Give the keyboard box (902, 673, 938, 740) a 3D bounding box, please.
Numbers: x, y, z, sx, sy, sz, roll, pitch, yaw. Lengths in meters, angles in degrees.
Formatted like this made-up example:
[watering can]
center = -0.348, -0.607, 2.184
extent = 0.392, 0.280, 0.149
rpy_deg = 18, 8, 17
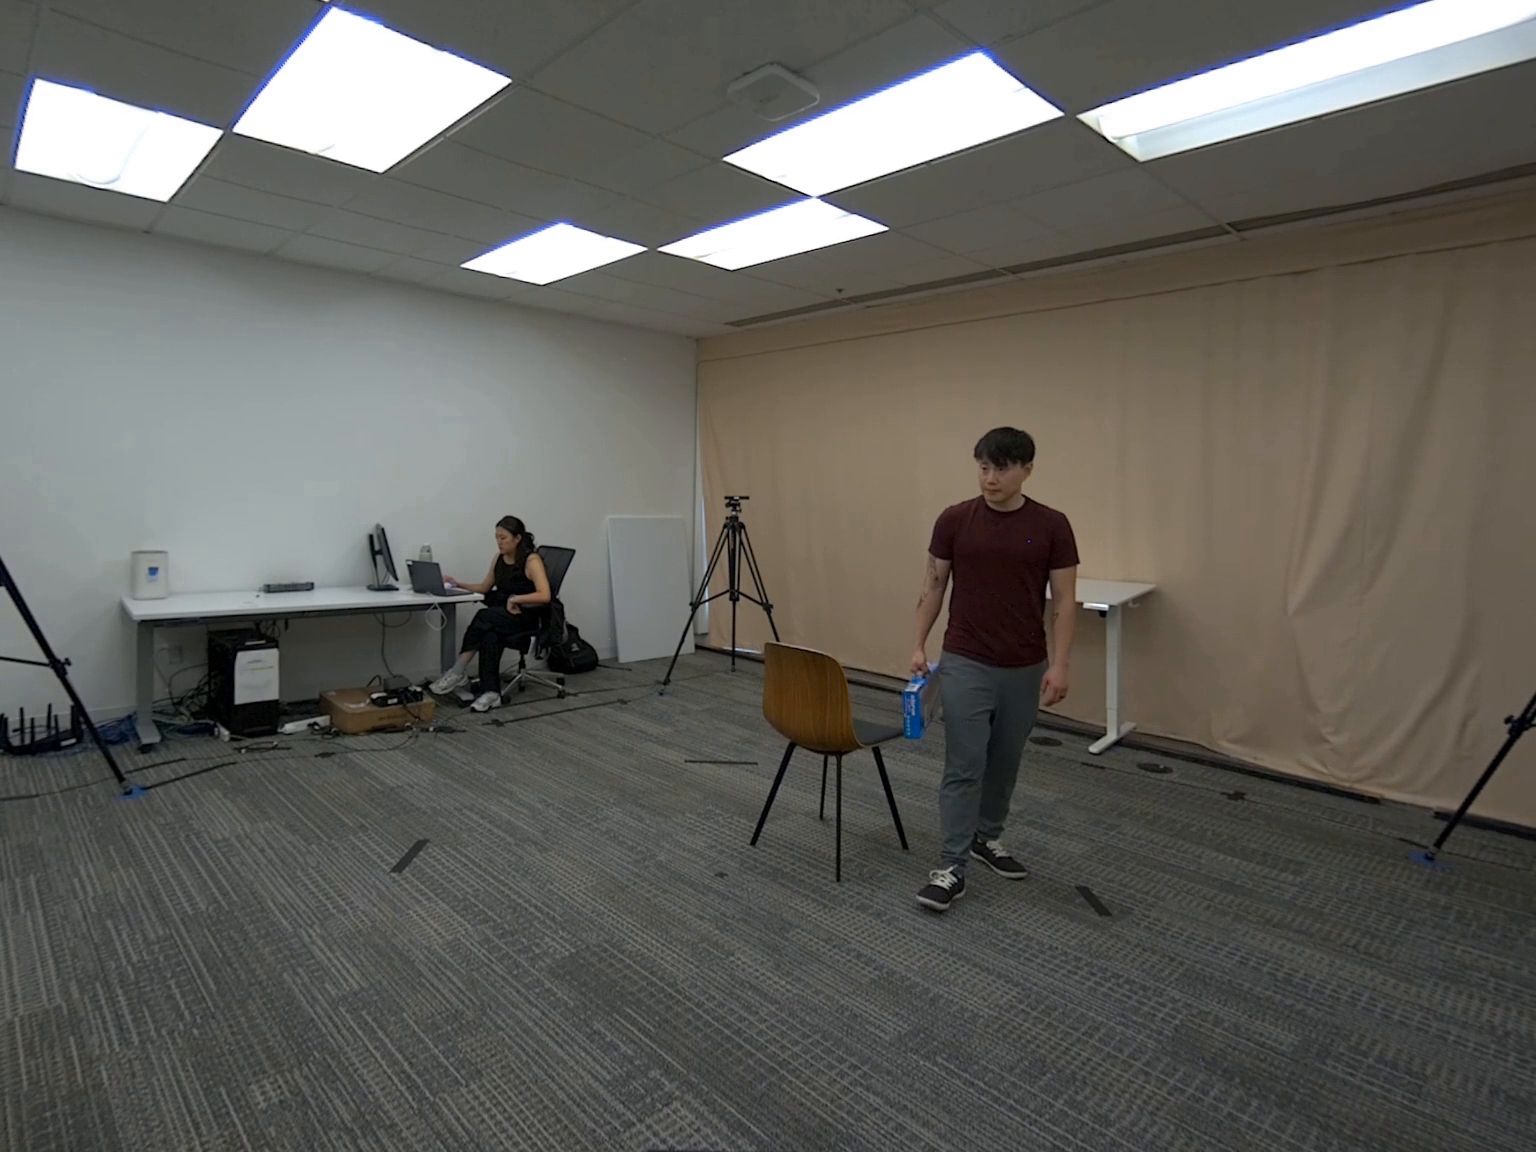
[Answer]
[keyboard box]
center = 0.573, 0.457, 3.177
extent = 0.060, 0.175, 0.432
rpy_deg = -2, 8, 20
